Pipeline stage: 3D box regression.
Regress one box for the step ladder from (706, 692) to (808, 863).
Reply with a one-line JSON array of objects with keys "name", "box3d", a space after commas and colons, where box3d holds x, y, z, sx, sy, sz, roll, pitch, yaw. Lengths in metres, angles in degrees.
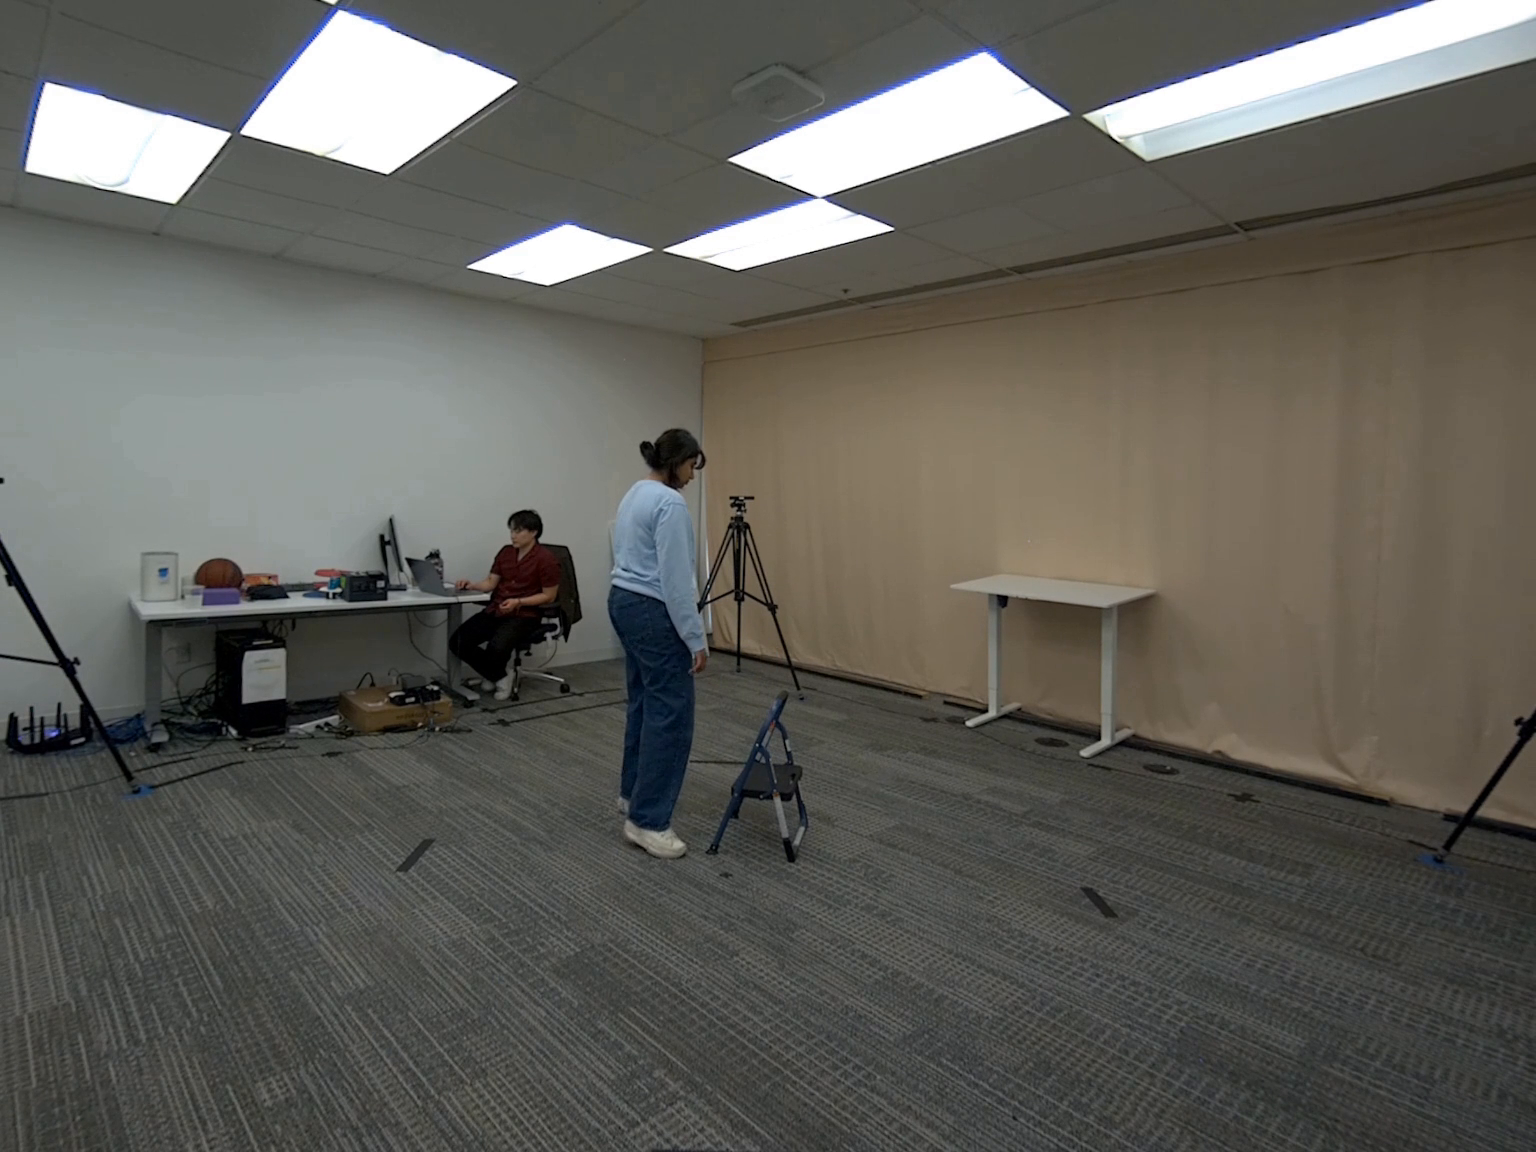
[{"name": "step ladder", "box3d": [-0.031, 0.777, 3.441, 0.353, 0.605, 0.427, 1, 3, 11]}]
